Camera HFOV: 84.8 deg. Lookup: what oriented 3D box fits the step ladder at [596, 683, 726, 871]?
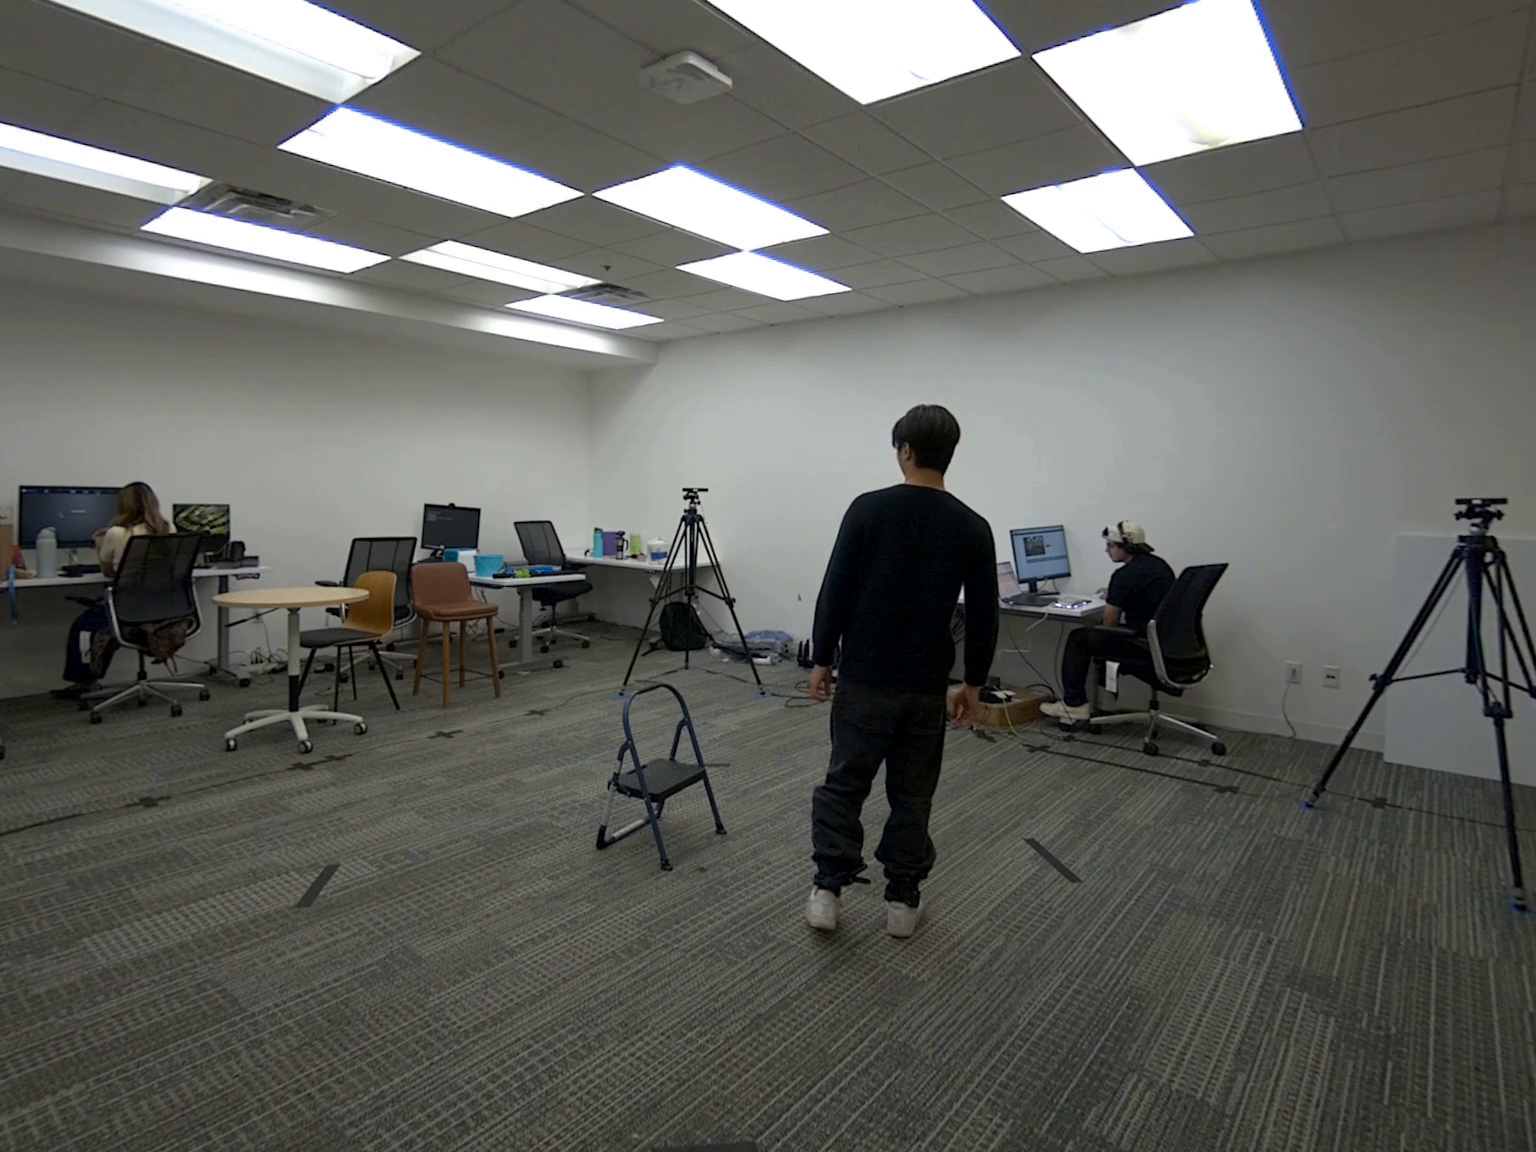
[{"bbox_3d":[-0.424,0.740,3.347,0.359,0.604,0.420,3,4,29],"label":"step ladder"}]
